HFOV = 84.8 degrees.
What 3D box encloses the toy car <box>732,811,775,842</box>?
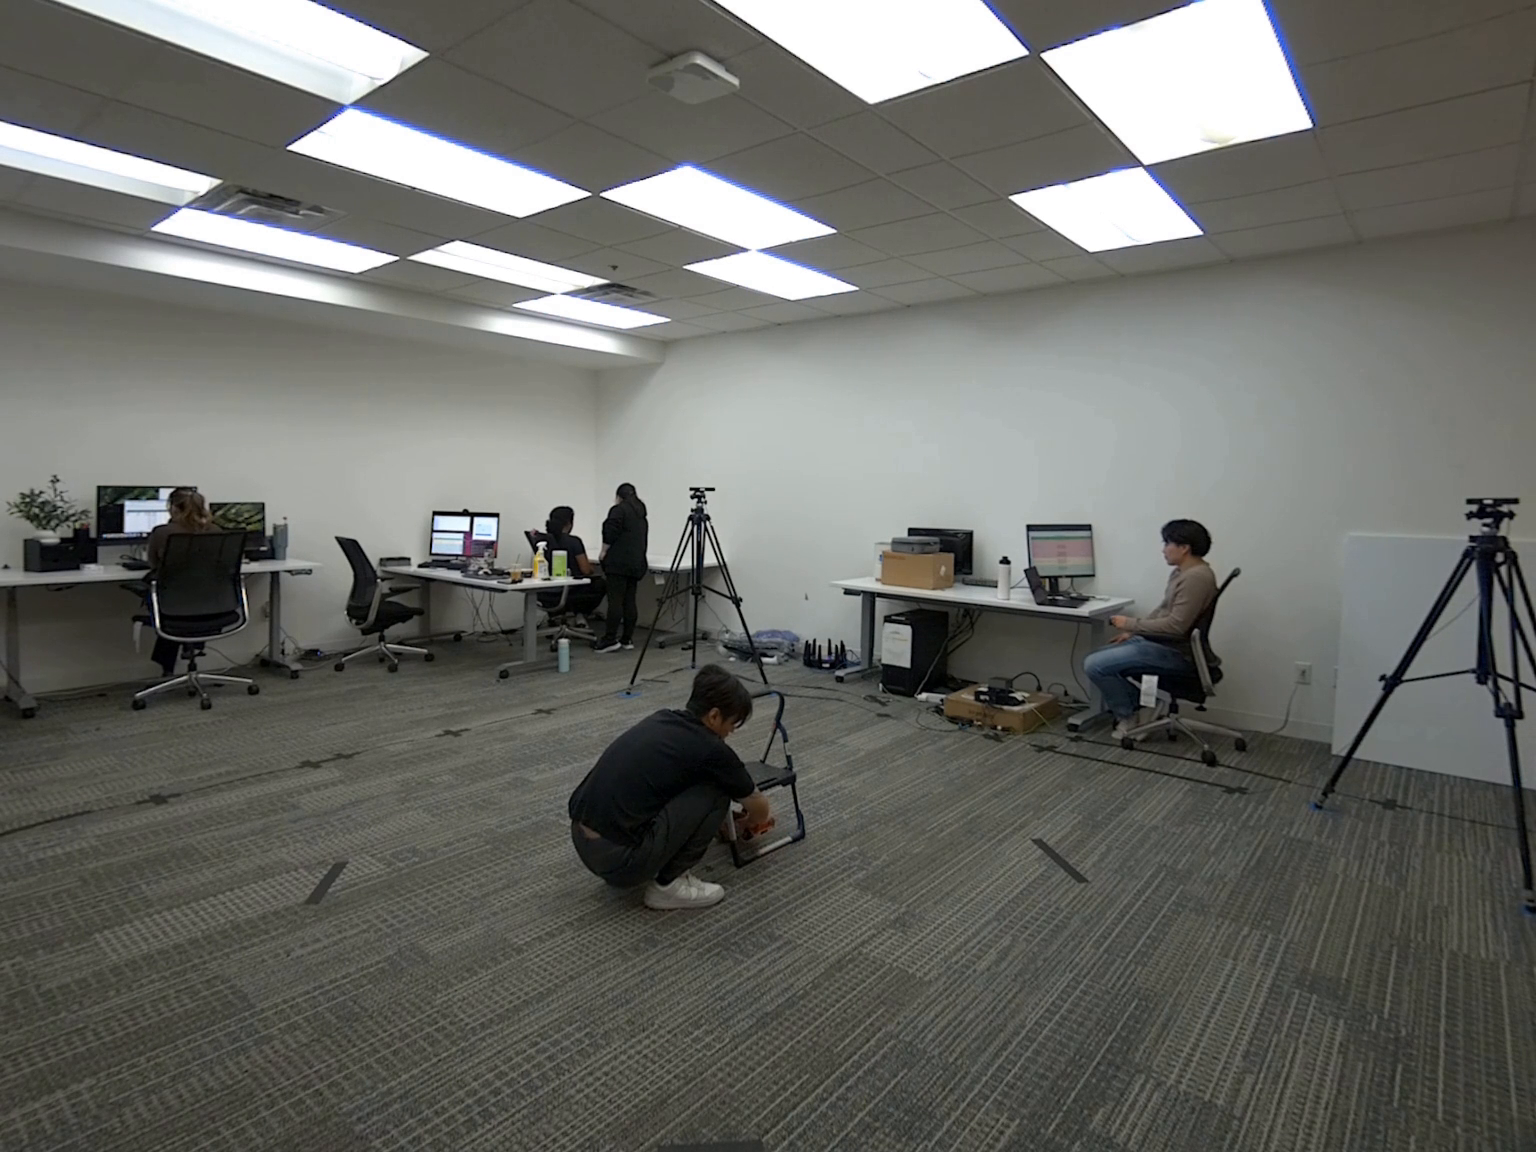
[{"bbox_3d":[-0.108,1.006,3.326,0.259,0.084,0.126,-23,-15,41],"label":"toy car"}]
